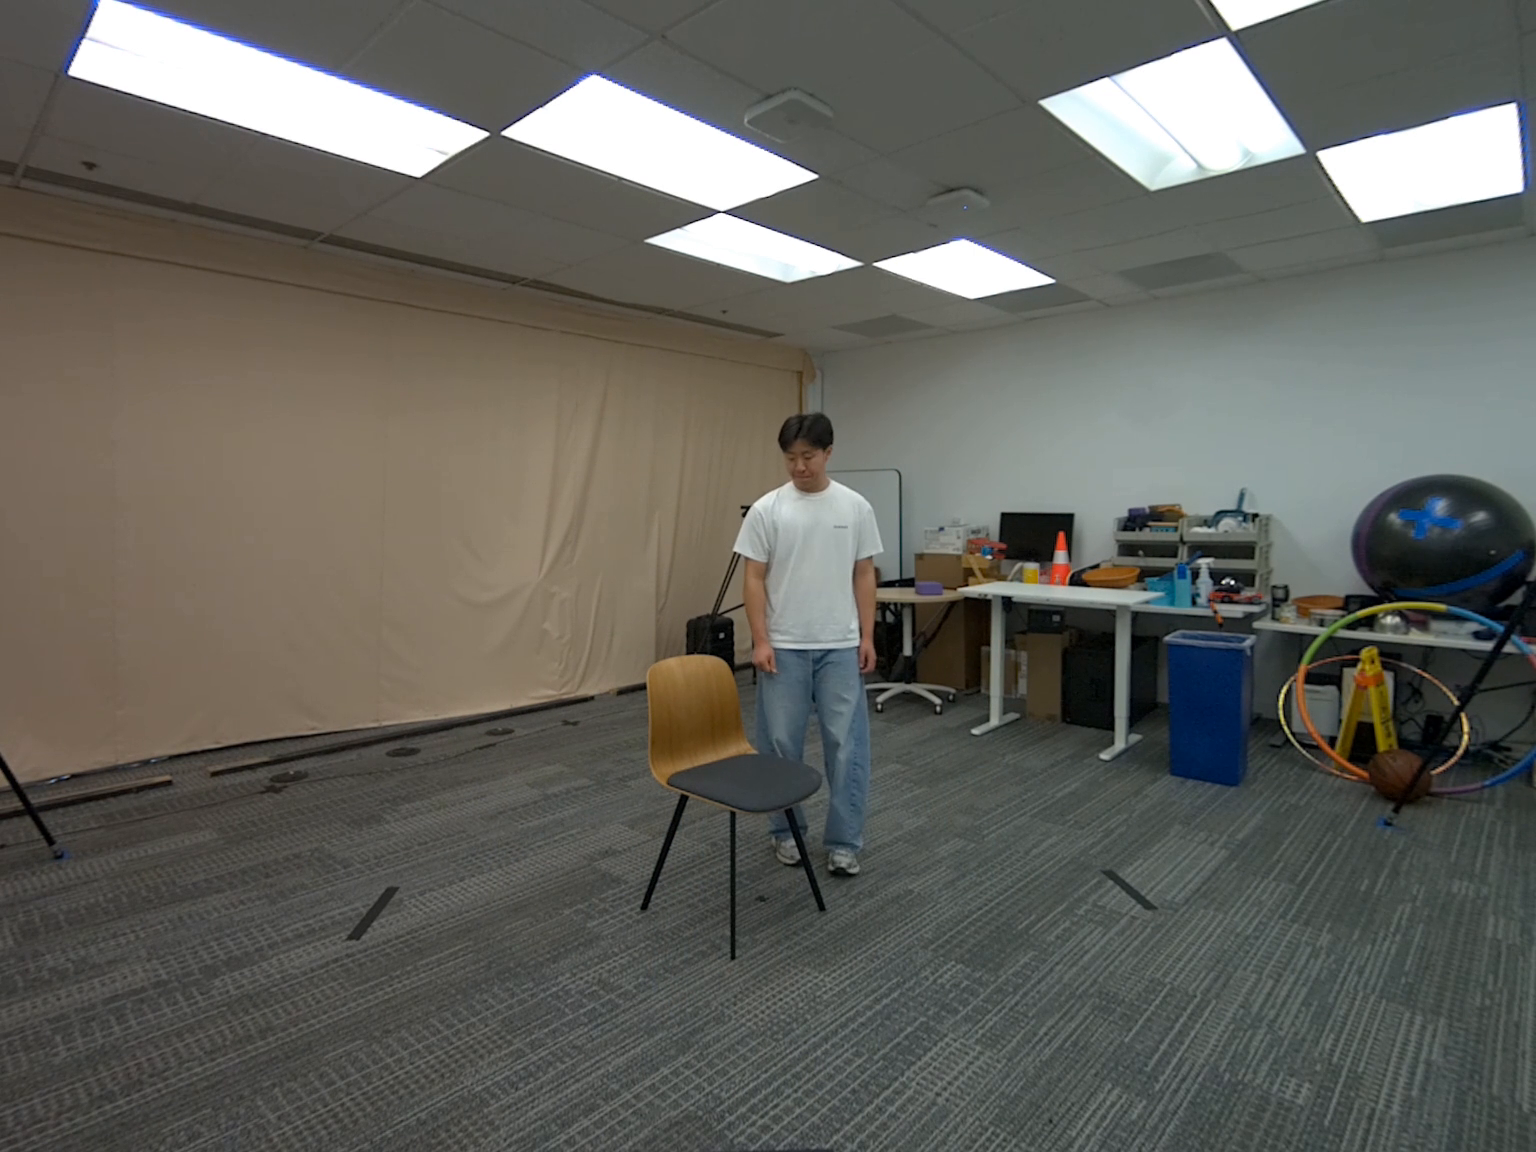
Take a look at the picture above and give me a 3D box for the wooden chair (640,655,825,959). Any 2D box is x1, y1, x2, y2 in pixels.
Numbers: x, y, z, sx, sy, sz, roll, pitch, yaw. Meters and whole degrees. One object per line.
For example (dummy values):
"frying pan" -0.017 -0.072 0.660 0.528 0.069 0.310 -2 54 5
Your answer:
"wooden chair" -0.118 0.730 2.857 0.539 0.877 0.463 -3 0 45
